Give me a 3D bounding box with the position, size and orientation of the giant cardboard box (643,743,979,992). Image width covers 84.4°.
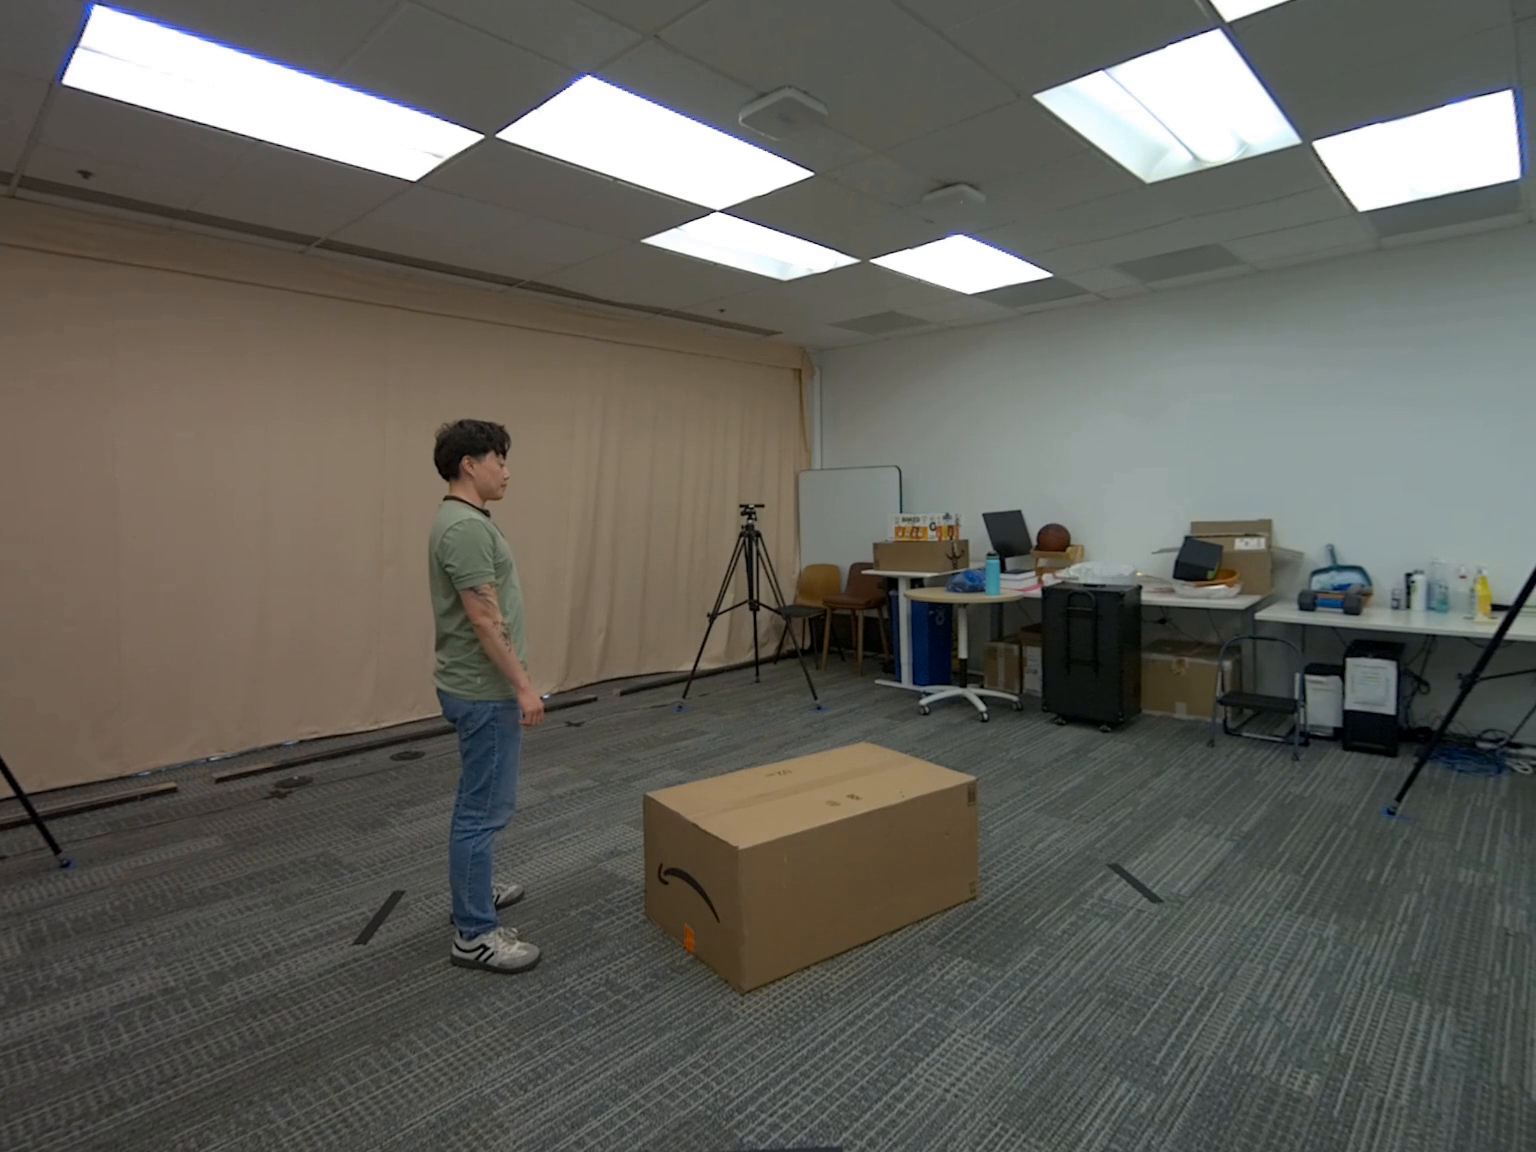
[{"bbox_3d":[0.161,0.932,2.898,0.996,0.425,0.596,-4,5,-35],"label":"giant cardboard box"}]
